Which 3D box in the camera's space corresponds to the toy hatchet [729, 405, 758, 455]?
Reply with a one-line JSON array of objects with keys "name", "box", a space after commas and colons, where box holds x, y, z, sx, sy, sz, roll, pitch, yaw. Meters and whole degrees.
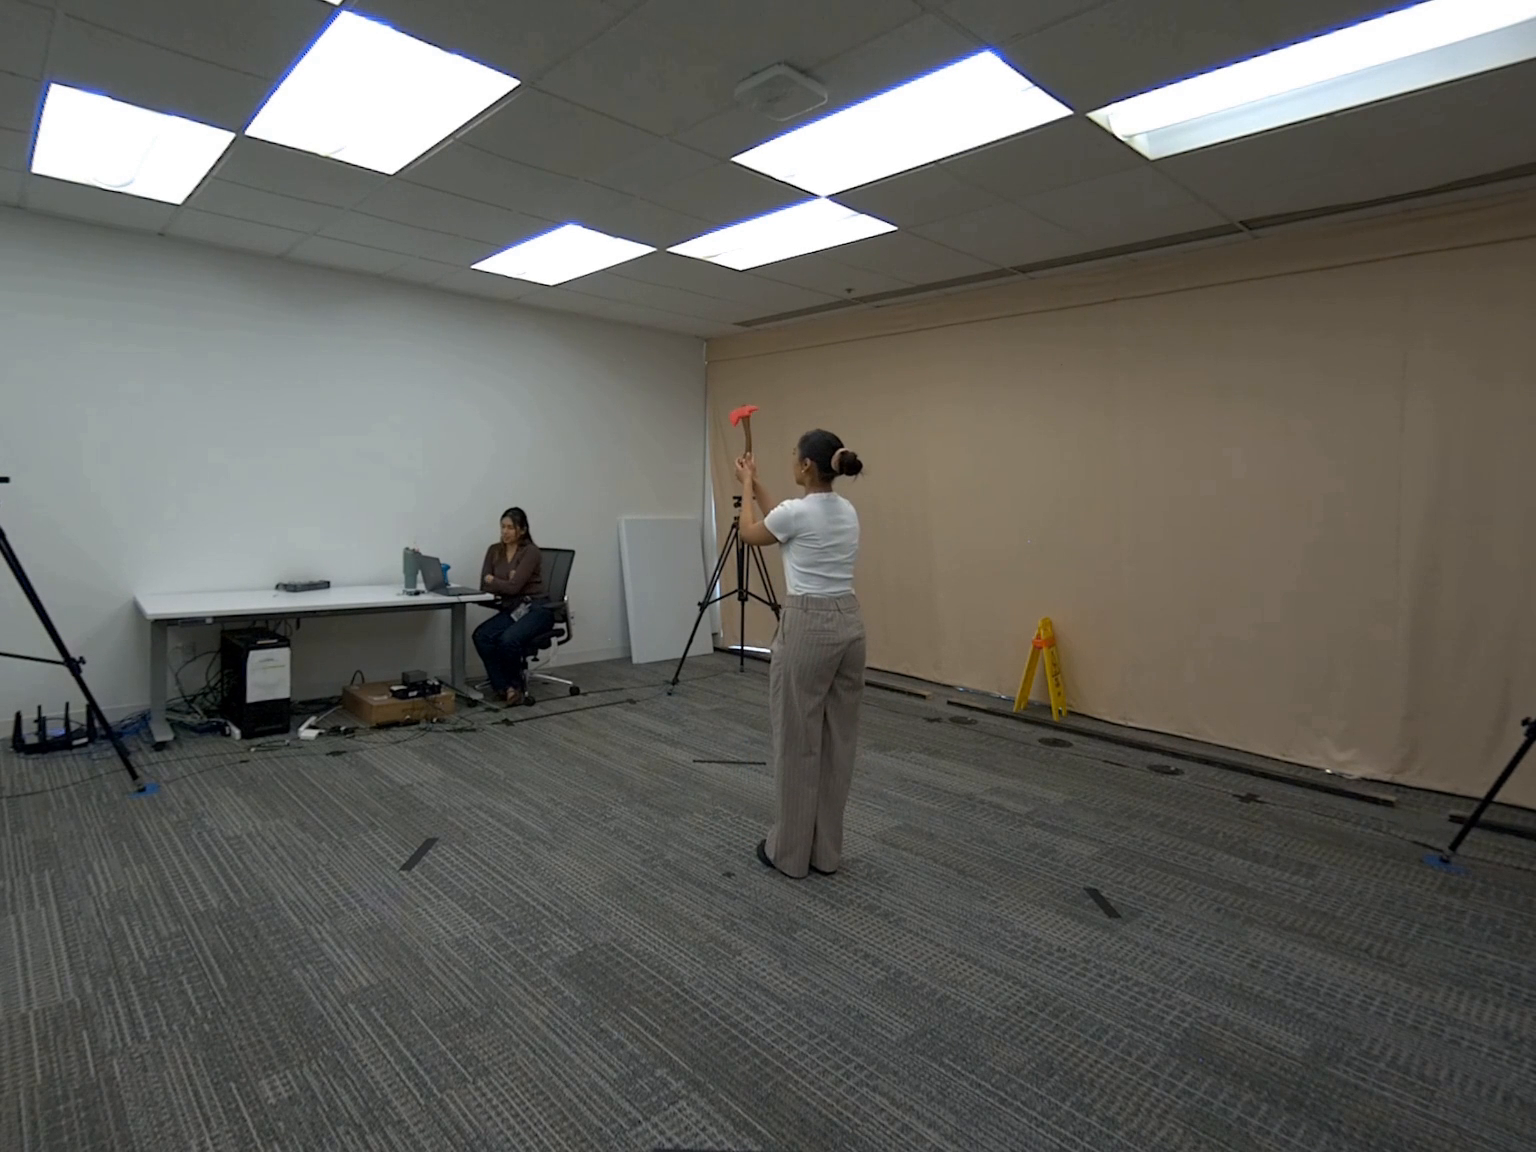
[{"name": "toy hatchet", "box": [-0.124, -0.576, 3.470, 0.133, 0.271, 0.029, 7, -4, 15]}]
